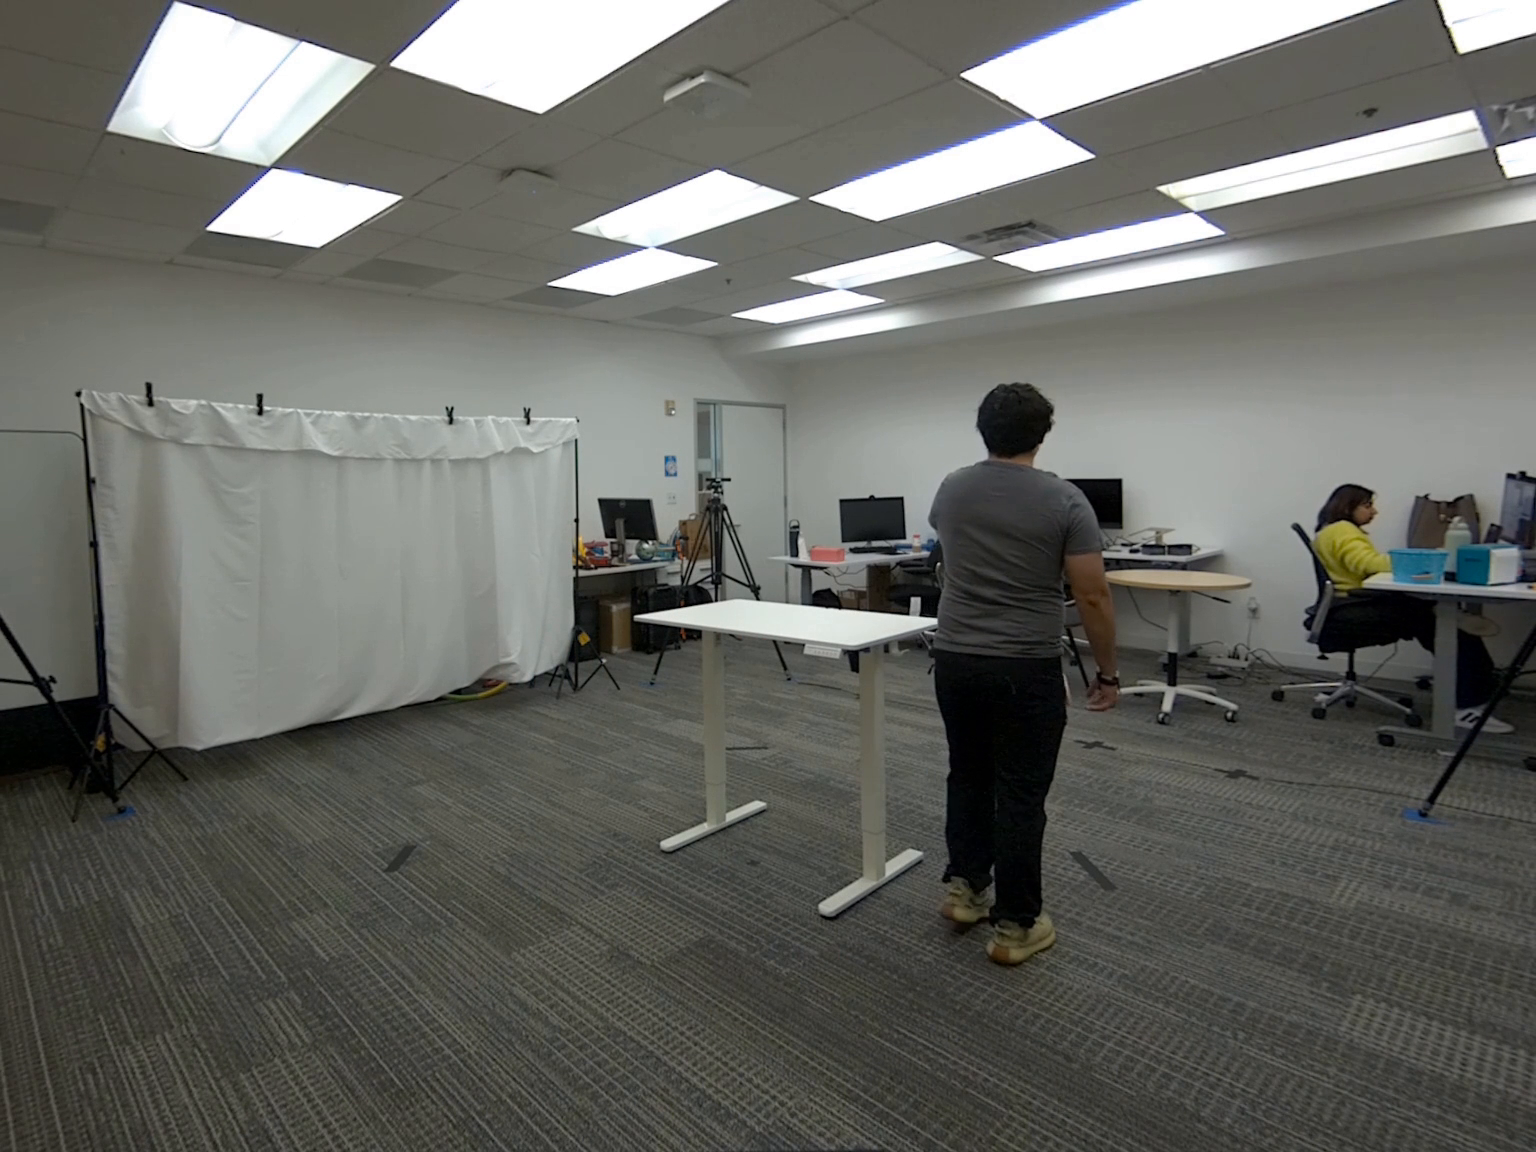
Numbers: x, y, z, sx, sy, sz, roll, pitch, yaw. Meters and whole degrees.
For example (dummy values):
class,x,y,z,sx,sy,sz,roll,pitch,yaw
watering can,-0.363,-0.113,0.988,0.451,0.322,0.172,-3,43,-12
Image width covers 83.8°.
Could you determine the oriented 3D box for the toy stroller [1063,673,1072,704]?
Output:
class,x,y,z,sx,sy,sz,roll,pitch,yaw
toy stroller,0.886,0.283,3.054,0.285,0.545,0.331,-13,-19,17
